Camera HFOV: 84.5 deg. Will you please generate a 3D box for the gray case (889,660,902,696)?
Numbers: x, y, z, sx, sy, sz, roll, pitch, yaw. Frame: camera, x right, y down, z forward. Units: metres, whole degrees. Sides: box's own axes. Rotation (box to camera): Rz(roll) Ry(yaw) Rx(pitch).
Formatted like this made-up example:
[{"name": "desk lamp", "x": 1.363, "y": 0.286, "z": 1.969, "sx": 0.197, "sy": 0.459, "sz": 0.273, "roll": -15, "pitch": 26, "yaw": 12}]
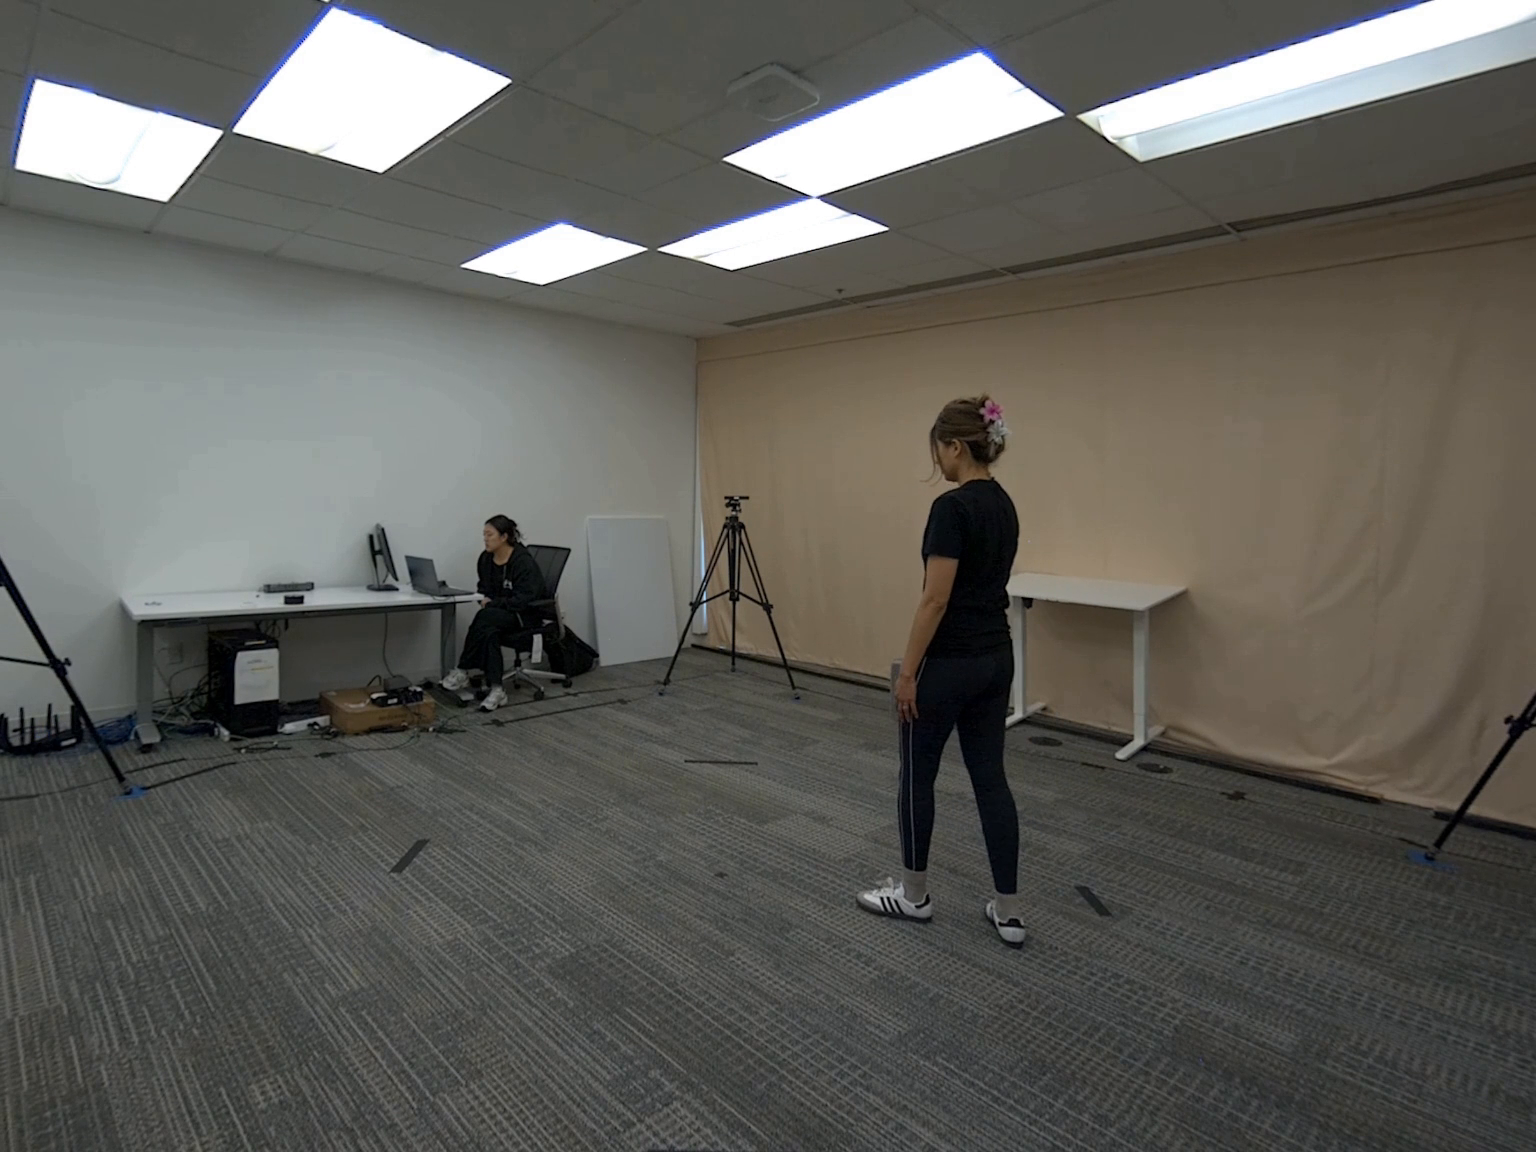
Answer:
[{"name": "gray case", "x": 0.591, "y": 0.447, "z": 3.195, "sx": 0.264, "sy": 0.258, "sz": 0.102, "roll": 10, "pitch": 15, "yaw": 38}]
